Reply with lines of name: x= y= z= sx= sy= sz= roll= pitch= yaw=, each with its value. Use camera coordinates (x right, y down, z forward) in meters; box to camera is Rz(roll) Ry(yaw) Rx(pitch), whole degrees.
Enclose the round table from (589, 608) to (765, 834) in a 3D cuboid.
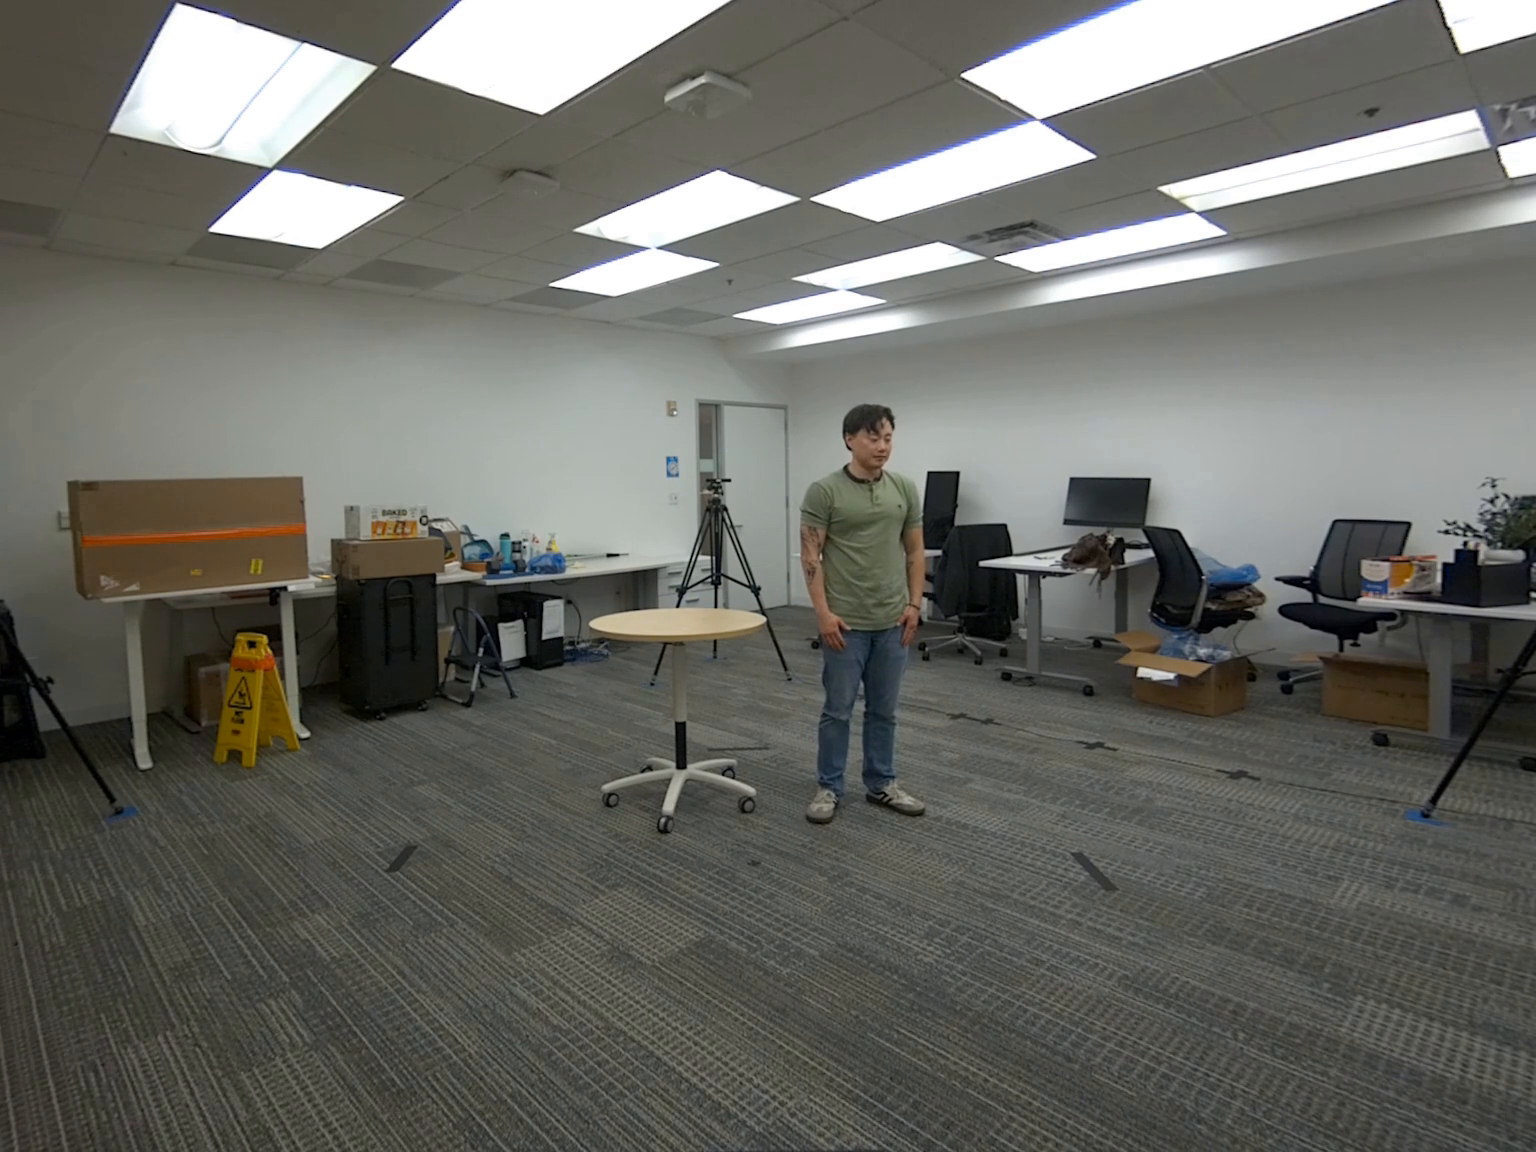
round table: x=-0.384 y=0.590 z=3.717 sx=0.763 sy=0.791 sz=0.767 roll=-1 pitch=4 yaw=-2
